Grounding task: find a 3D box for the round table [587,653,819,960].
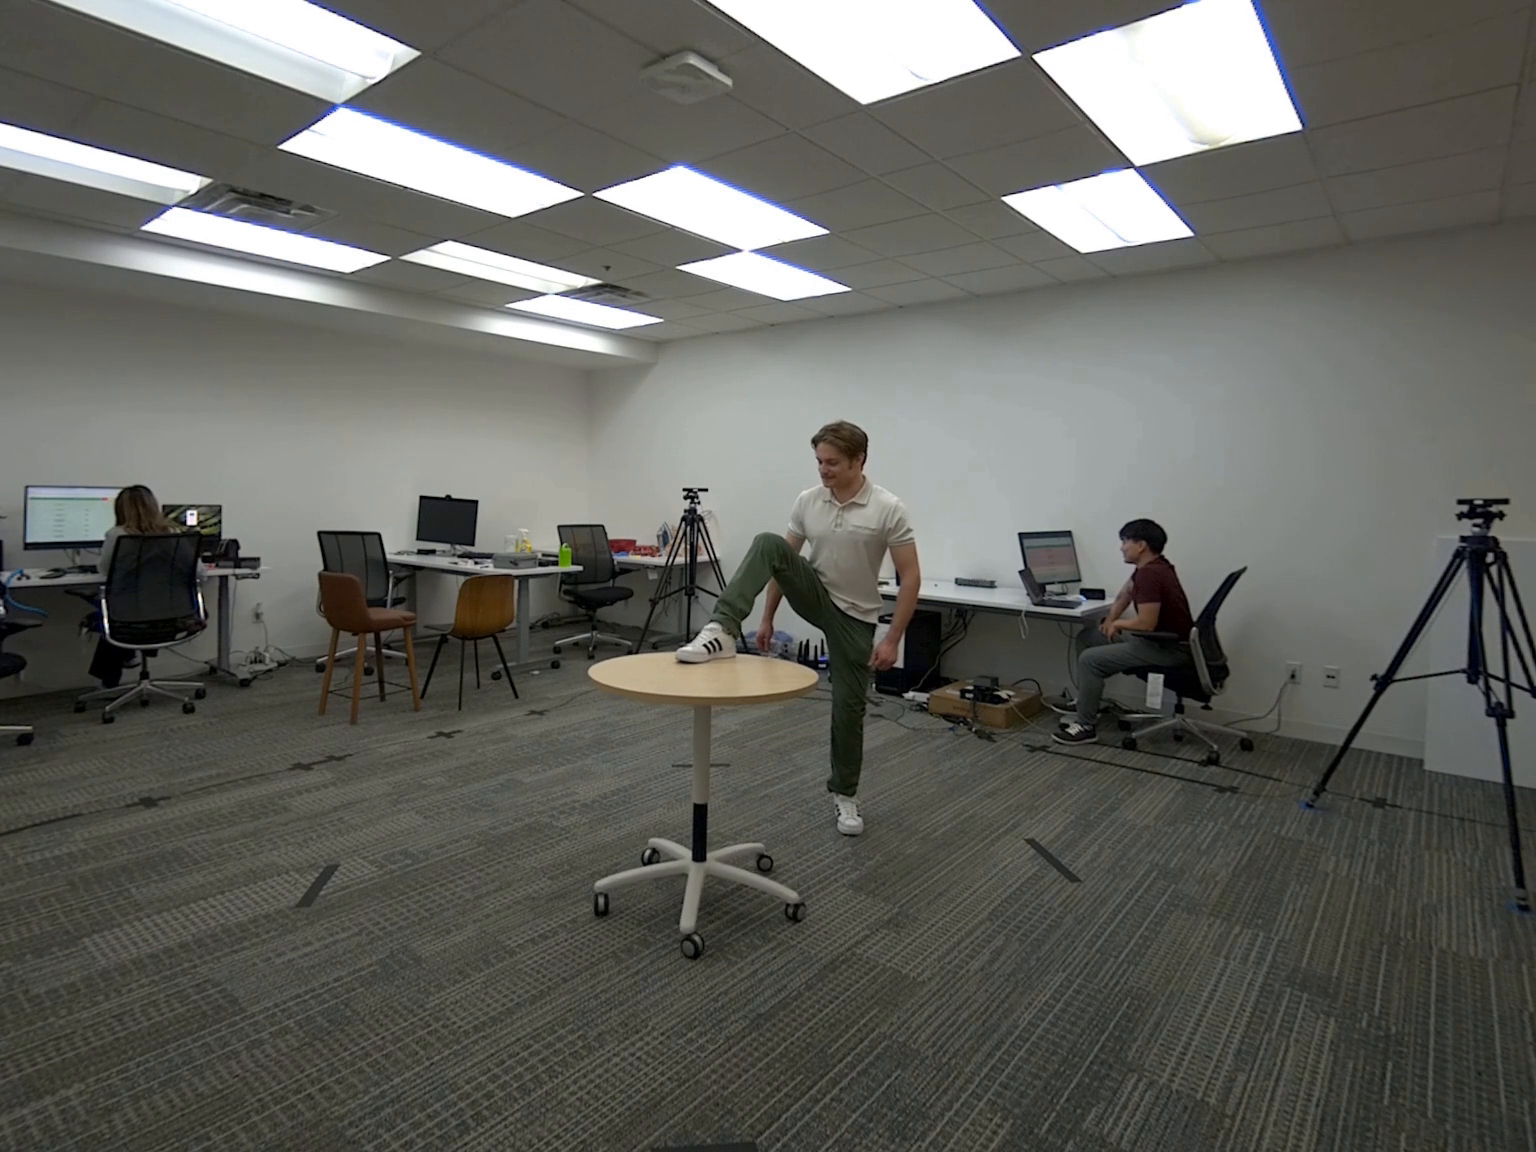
[{"bbox_3d":[-0.238,0.707,2.851,0.763,0.792,0.767,1,3,-2],"label":"round table"}]
